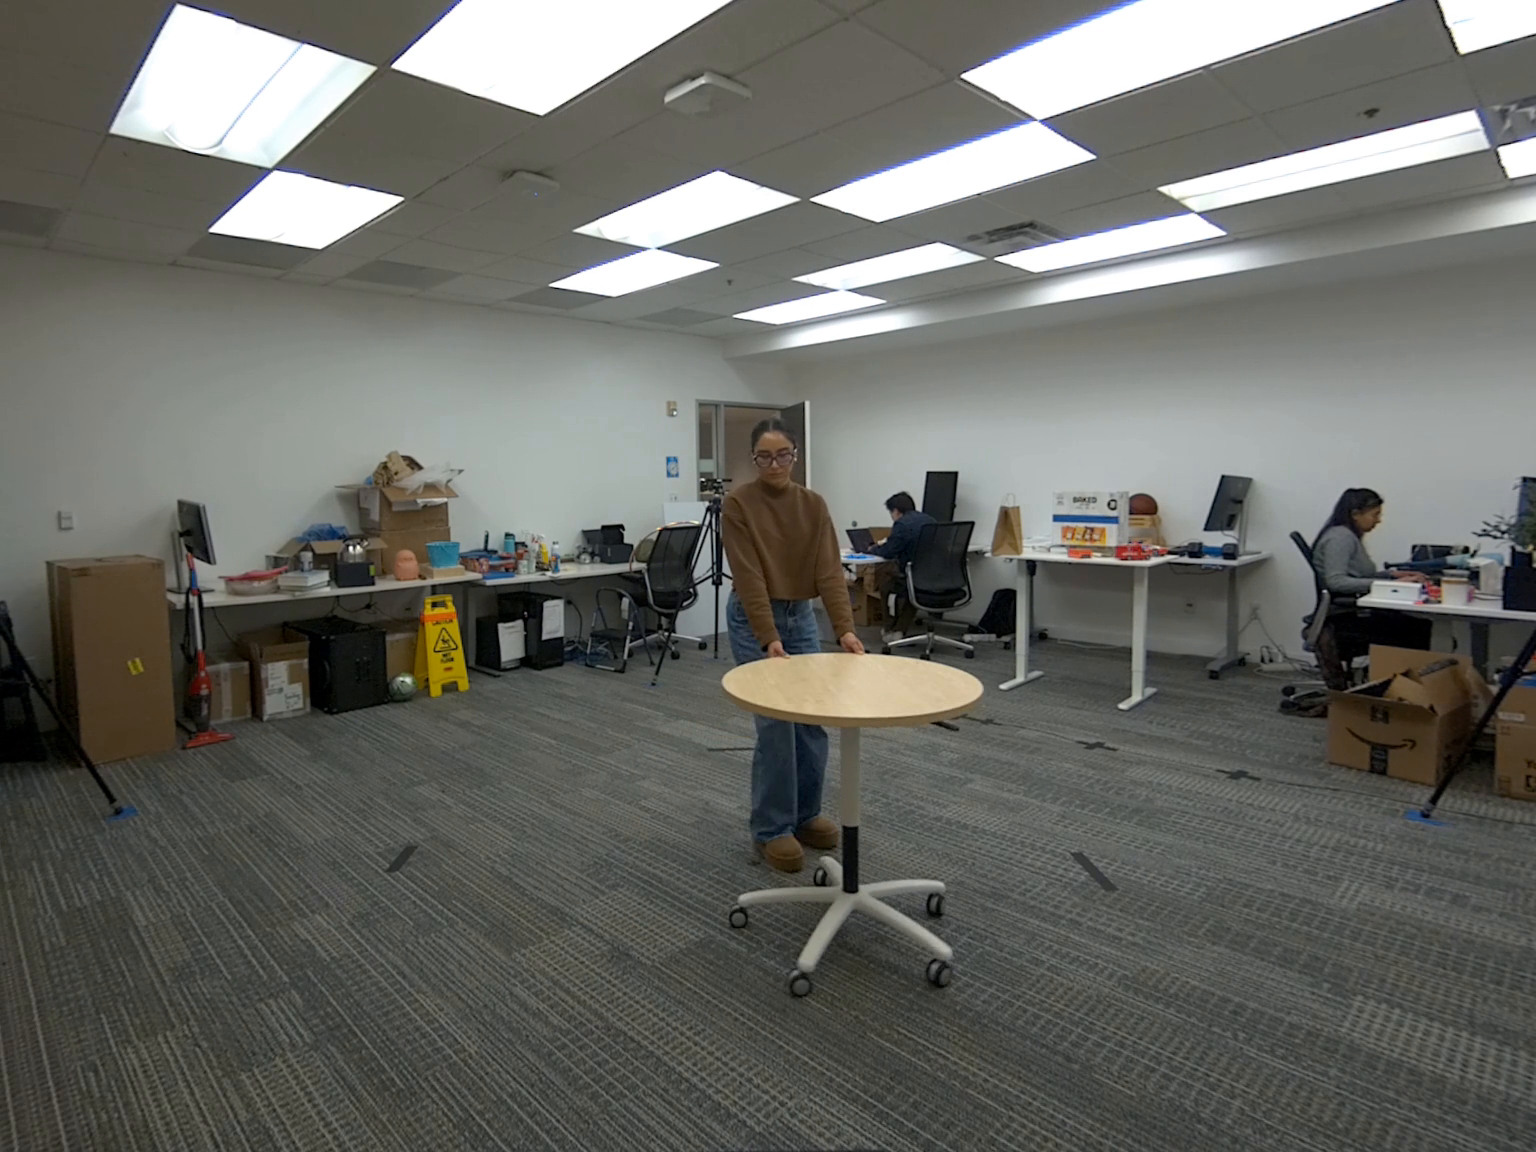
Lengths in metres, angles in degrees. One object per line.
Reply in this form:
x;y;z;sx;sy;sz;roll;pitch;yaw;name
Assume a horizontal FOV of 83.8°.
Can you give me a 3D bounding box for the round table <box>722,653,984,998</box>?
0.233;0.704;2.594;0.784;0.783;0.789;-1;5;-2;round table
